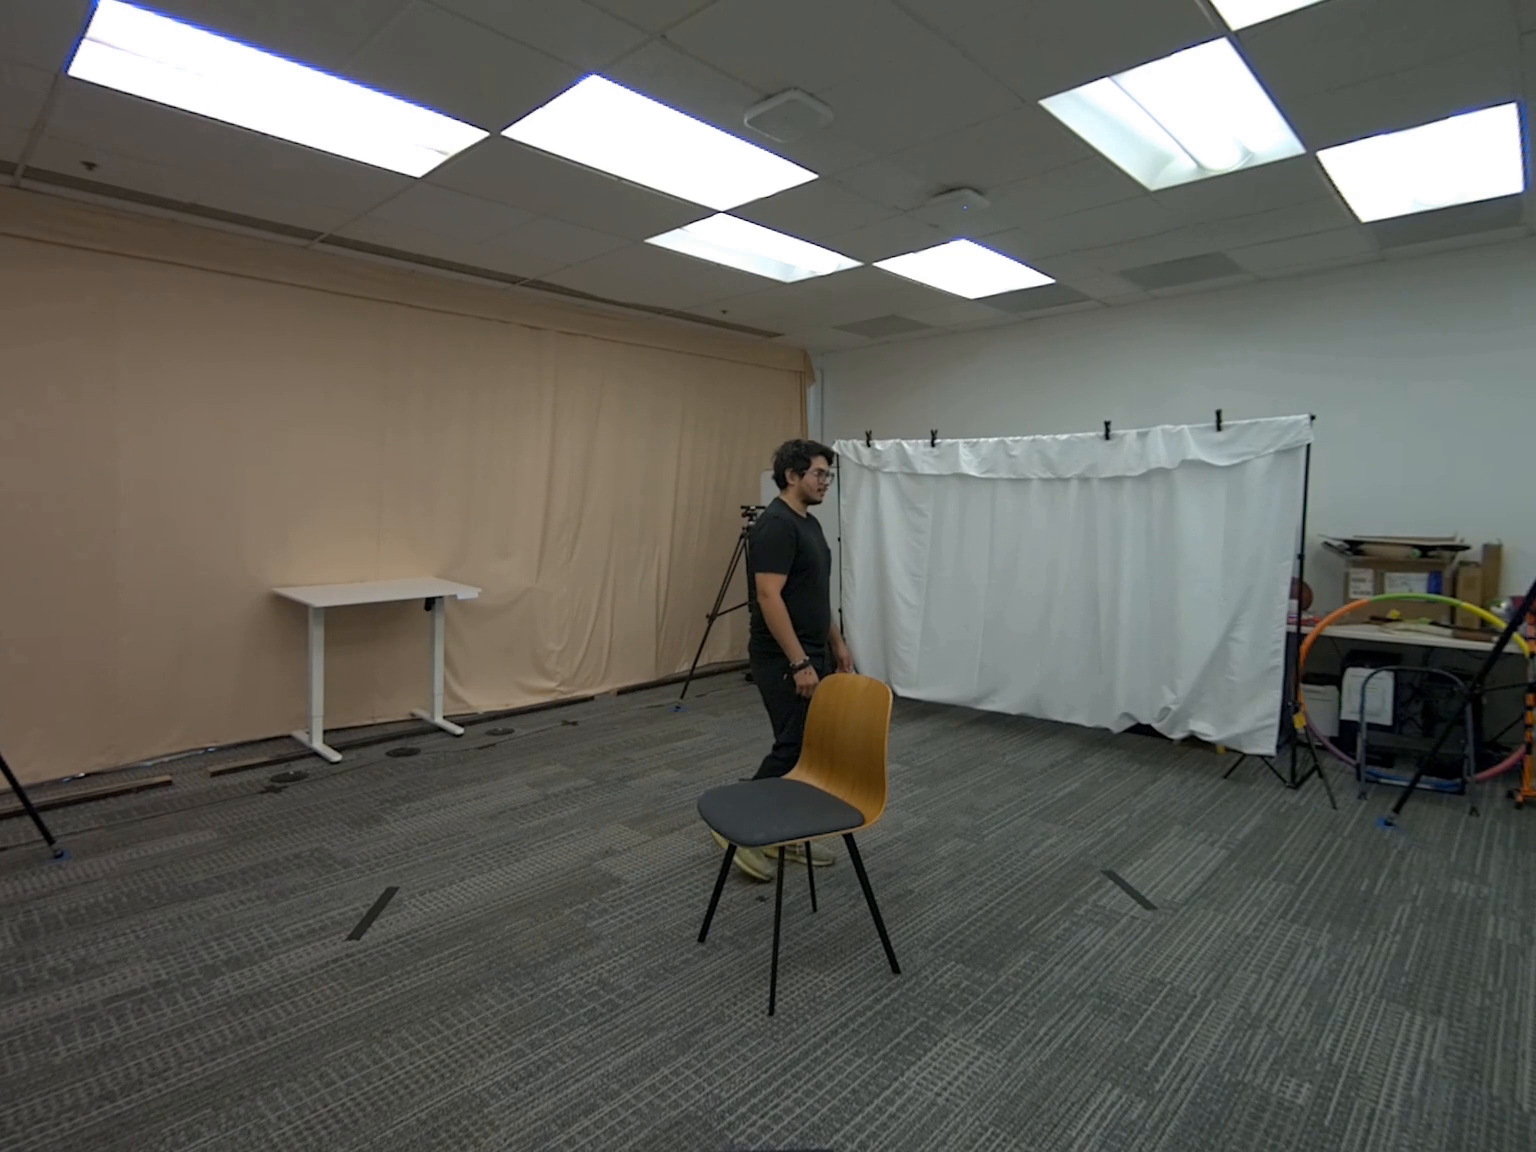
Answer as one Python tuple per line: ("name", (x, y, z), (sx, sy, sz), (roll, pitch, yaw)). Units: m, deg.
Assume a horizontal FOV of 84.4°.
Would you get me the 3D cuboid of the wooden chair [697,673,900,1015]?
("wooden chair", (0.082, 0.748, 2.565), (0.509, 0.876, 0.492), (3, 2, -30))
